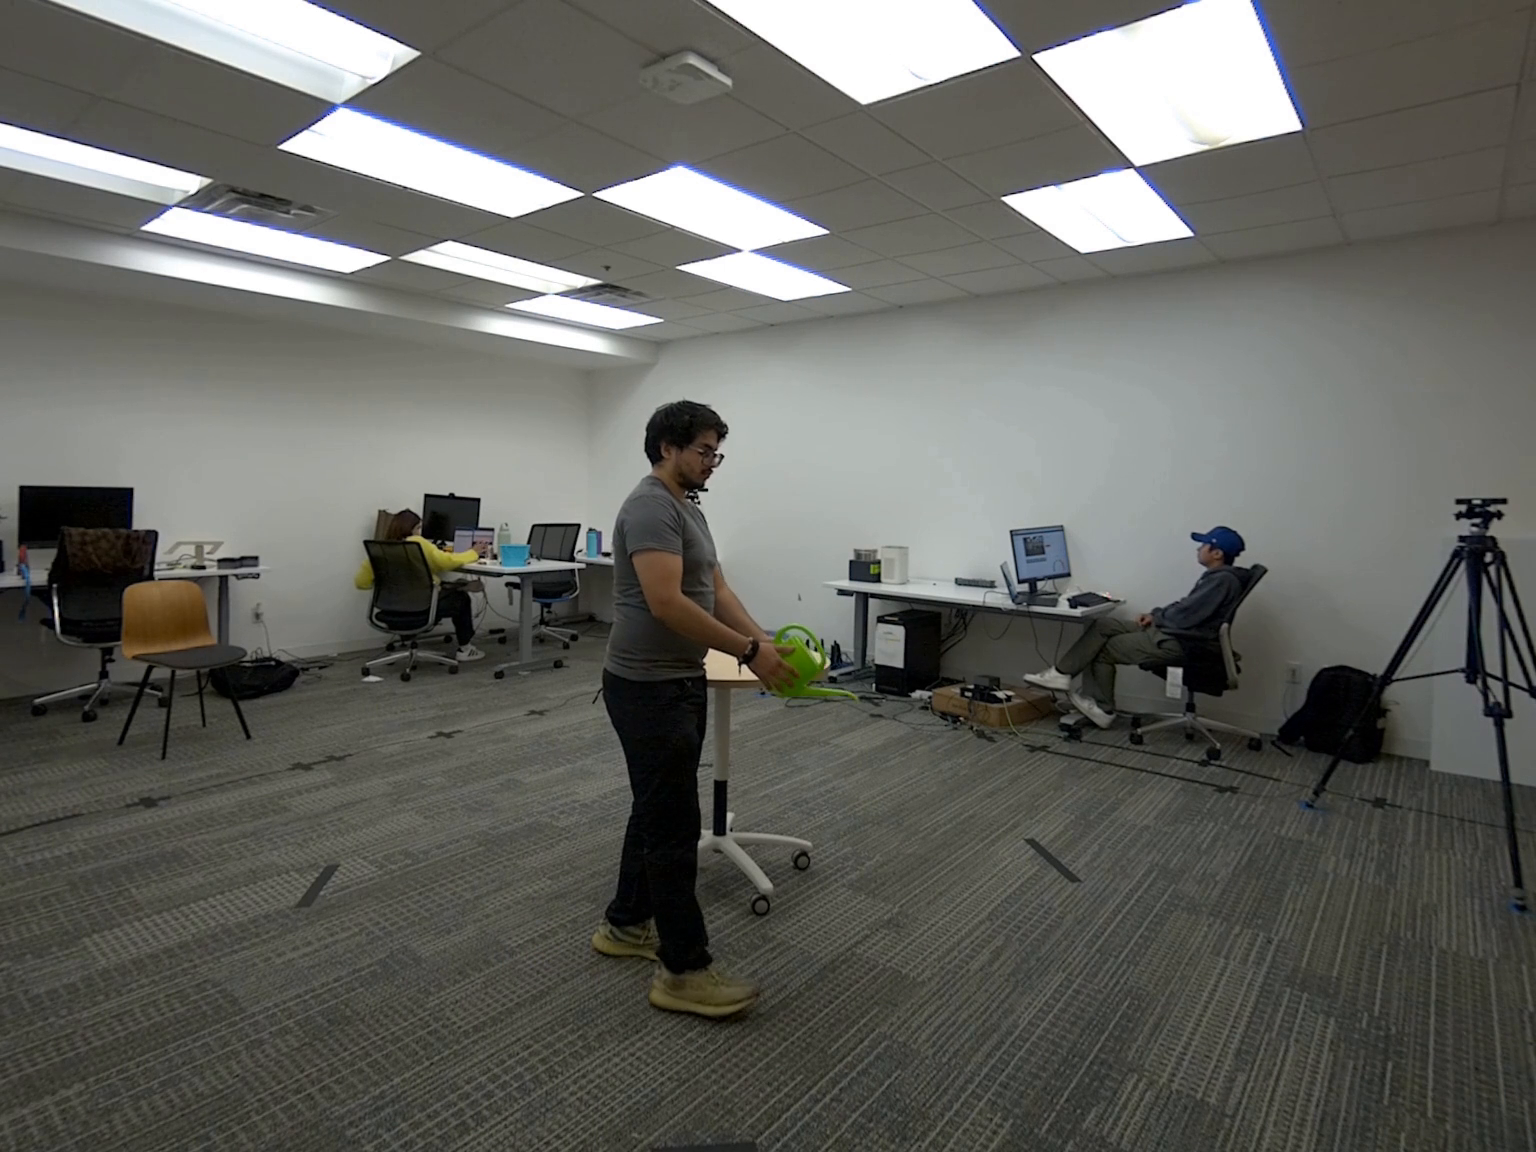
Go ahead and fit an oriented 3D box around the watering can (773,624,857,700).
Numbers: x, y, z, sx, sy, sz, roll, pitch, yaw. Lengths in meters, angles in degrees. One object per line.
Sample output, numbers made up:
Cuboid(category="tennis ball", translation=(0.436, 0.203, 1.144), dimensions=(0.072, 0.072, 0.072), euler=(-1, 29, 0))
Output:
Cuboid(category="watering can", translation=(0.091, 0.274, 2.313), dimensions=(0.177, 0.285, 0.095), euler=(-36, -18, 3))
